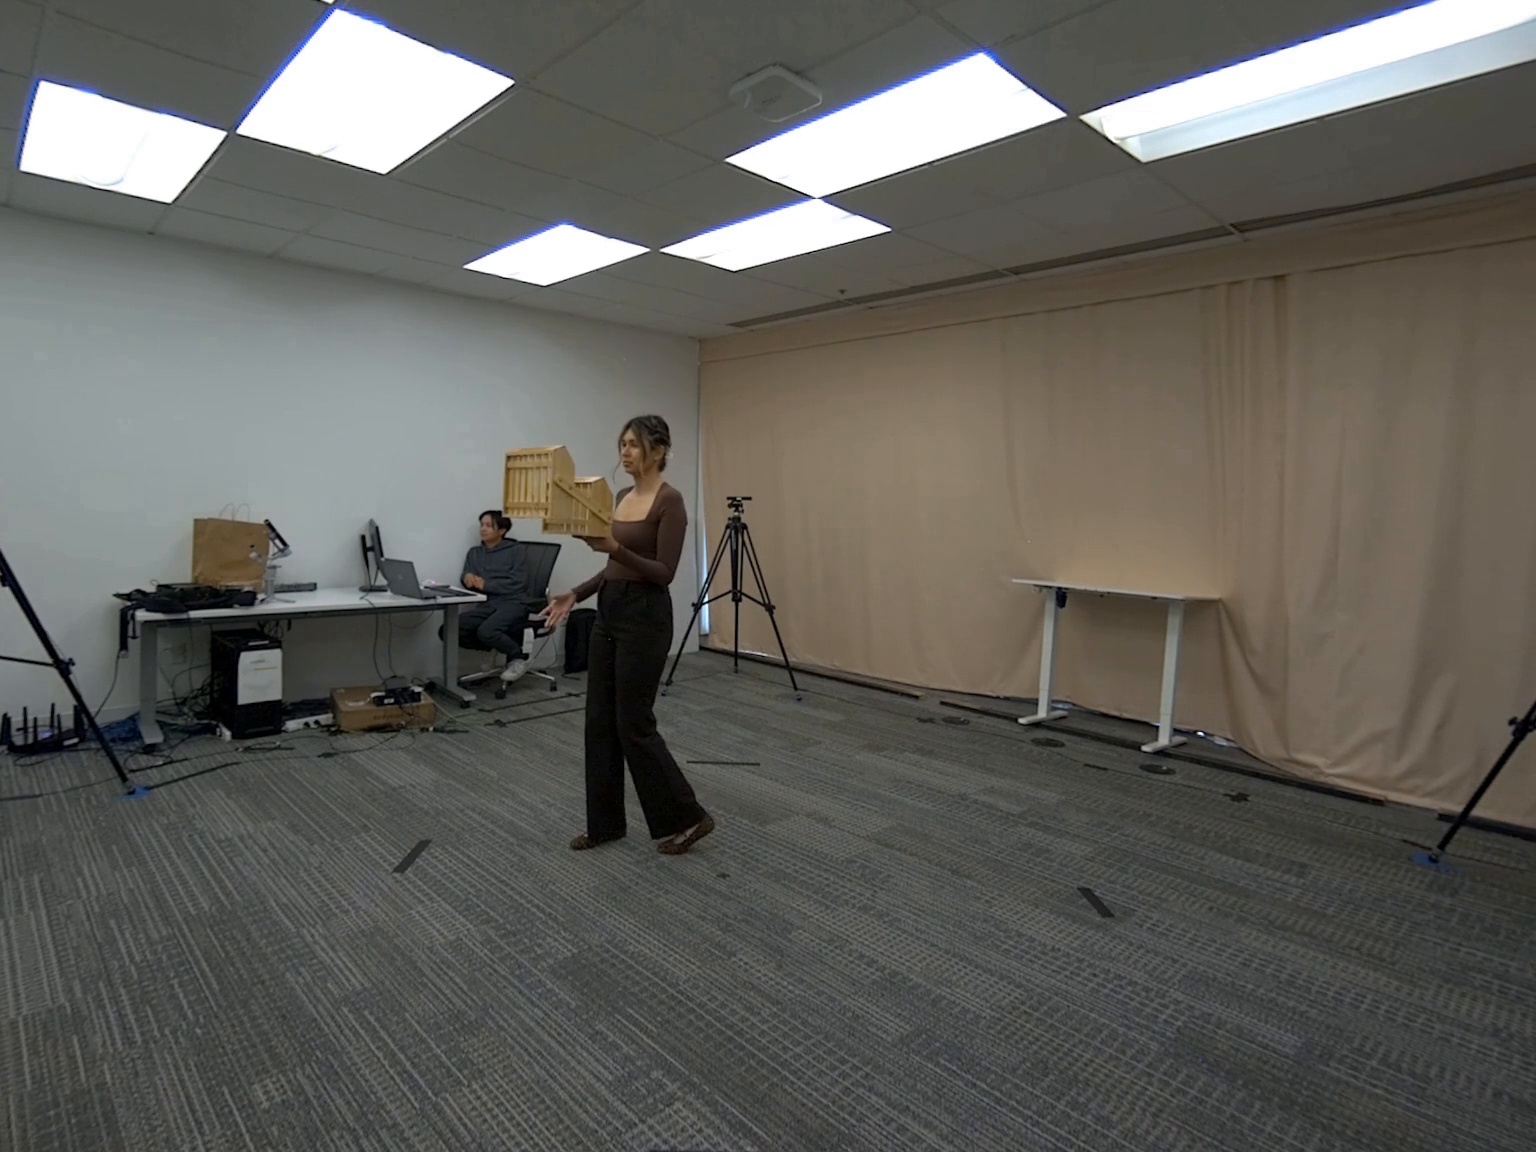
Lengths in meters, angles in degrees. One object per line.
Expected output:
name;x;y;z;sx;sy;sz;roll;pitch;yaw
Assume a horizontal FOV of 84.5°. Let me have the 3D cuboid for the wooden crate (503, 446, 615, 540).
wooden crate;-0.748;-0.295;2.986;0.333;0.301;0.267;5;3;44
